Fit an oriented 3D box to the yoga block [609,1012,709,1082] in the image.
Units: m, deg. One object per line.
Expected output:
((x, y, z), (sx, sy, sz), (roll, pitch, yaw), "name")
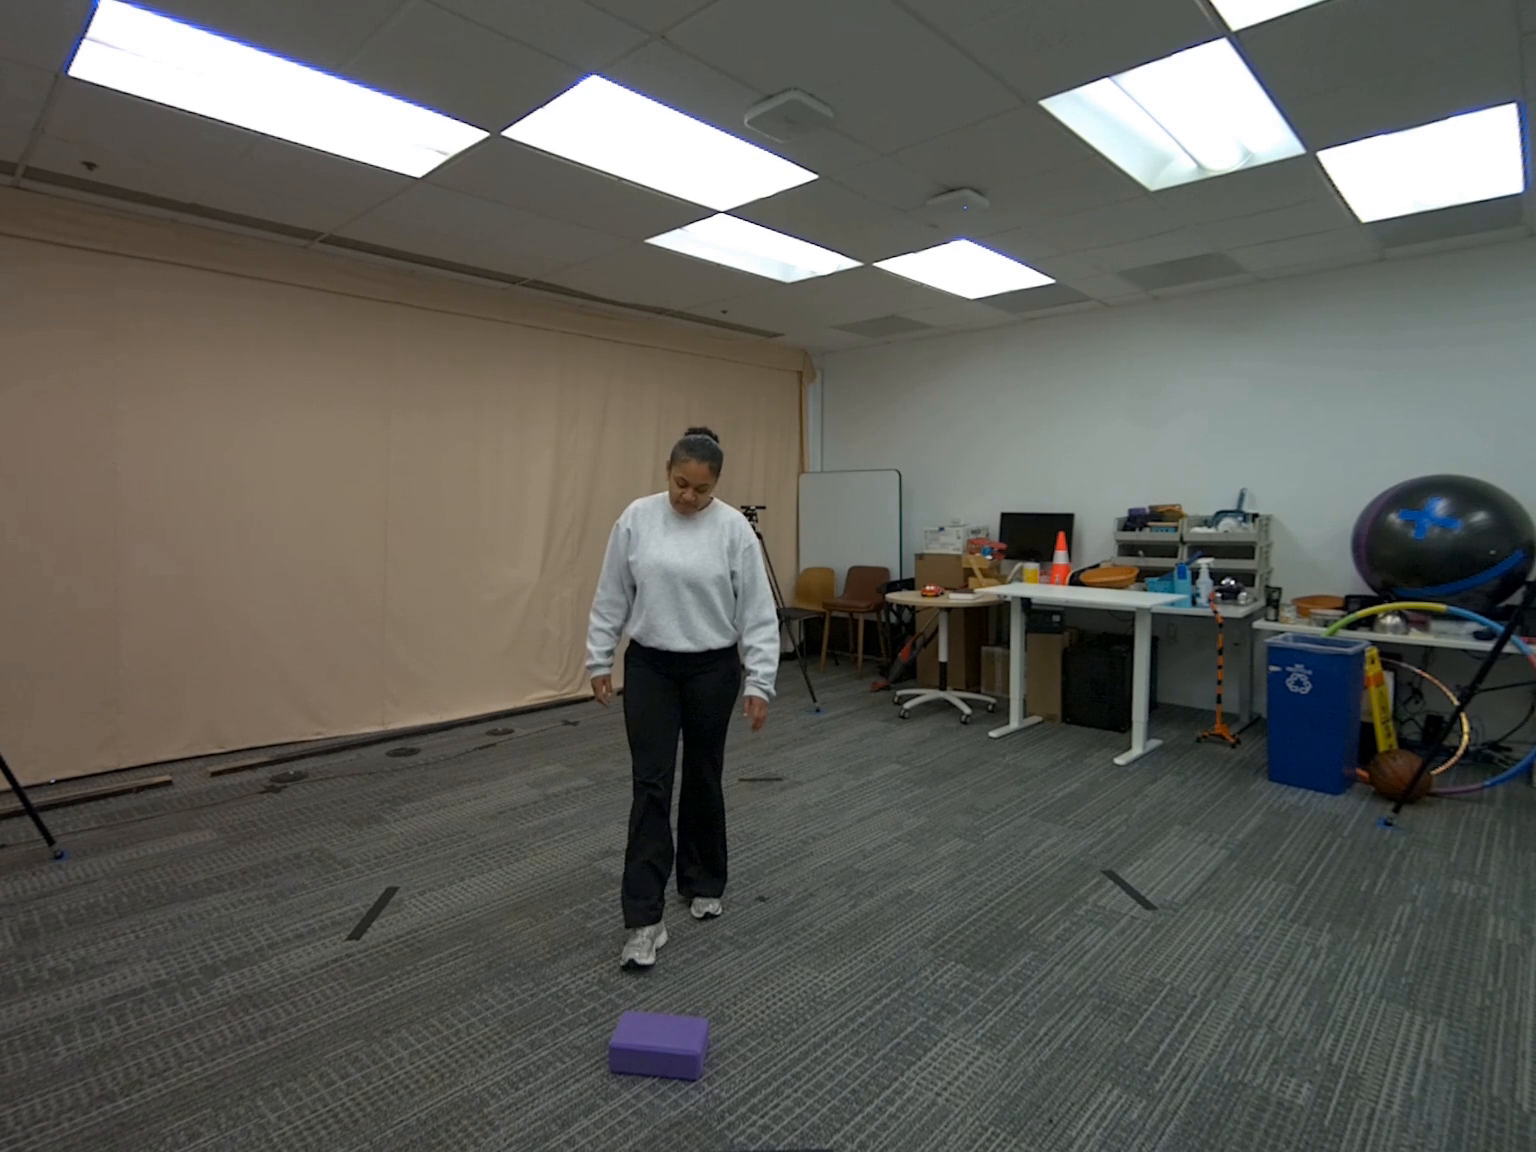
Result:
((-0.272, 1.173, 2.121), (0.231, 0.076, 0.148), (1, 4, 8), "yoga block")
